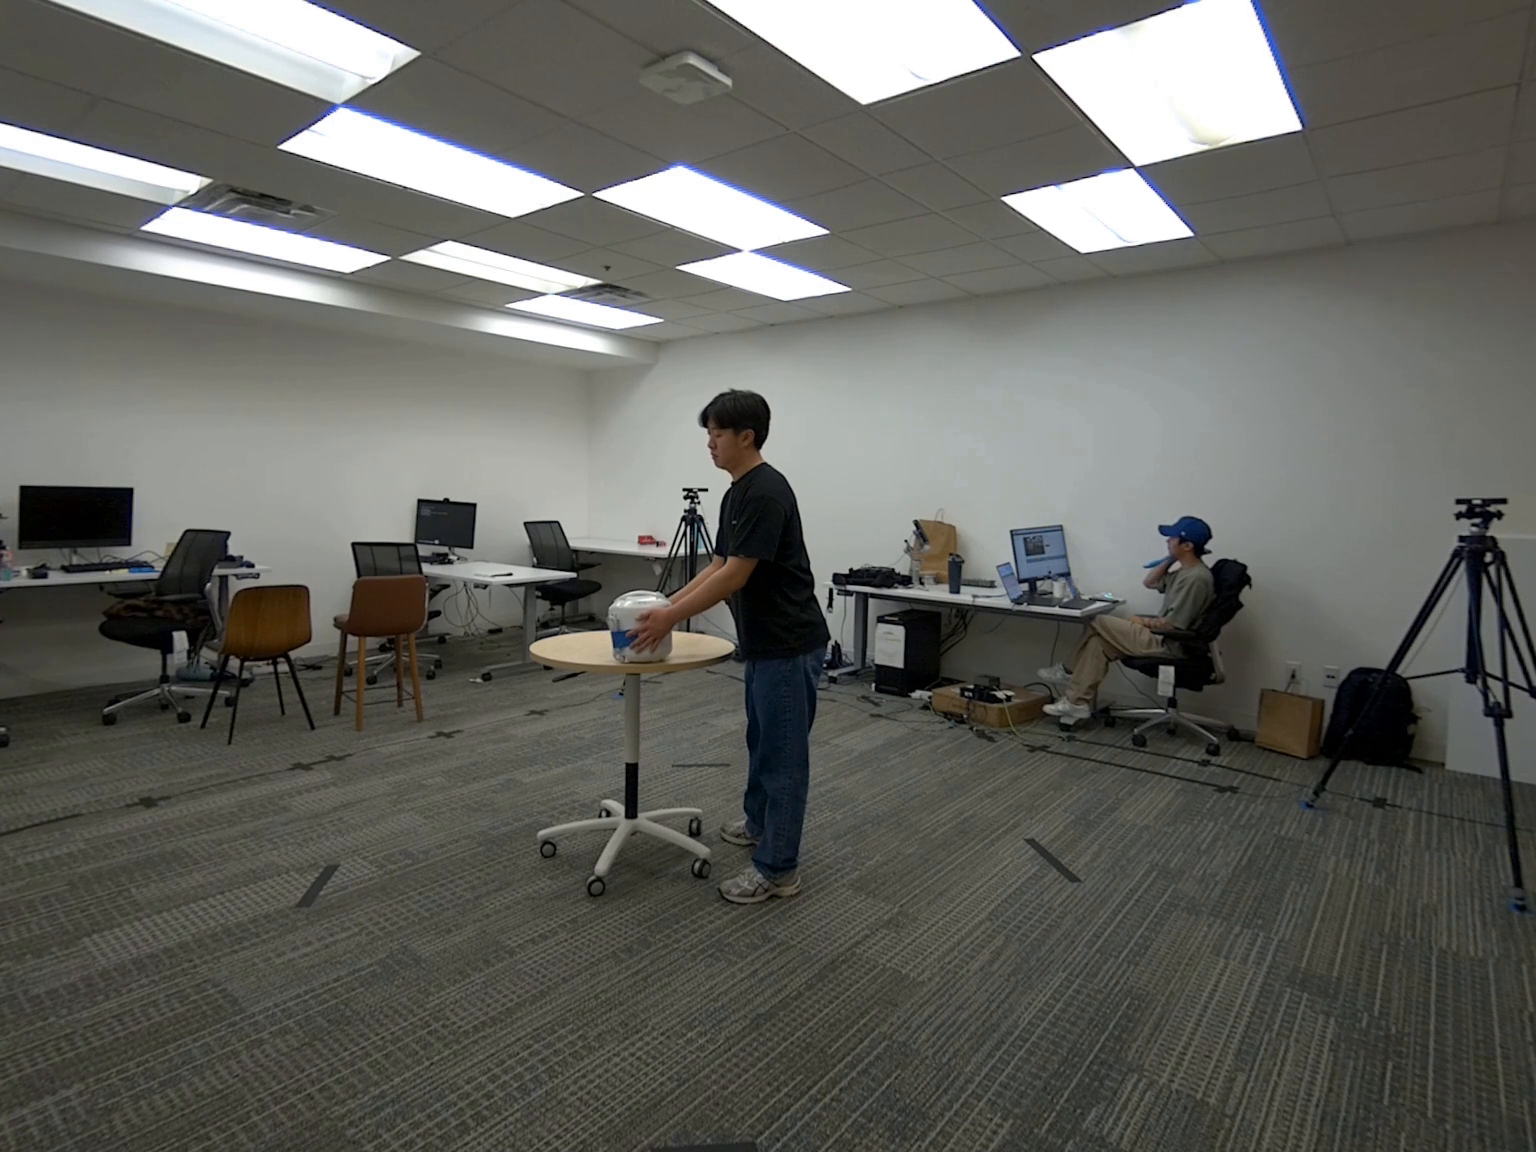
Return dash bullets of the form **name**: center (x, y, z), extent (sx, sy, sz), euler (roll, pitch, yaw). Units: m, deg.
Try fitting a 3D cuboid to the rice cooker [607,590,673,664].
- **rice cooker**: center (-0.451, 0.165, 2.931), extent (0.220, 0.232, 0.218), euler (-2, 3, -3)
